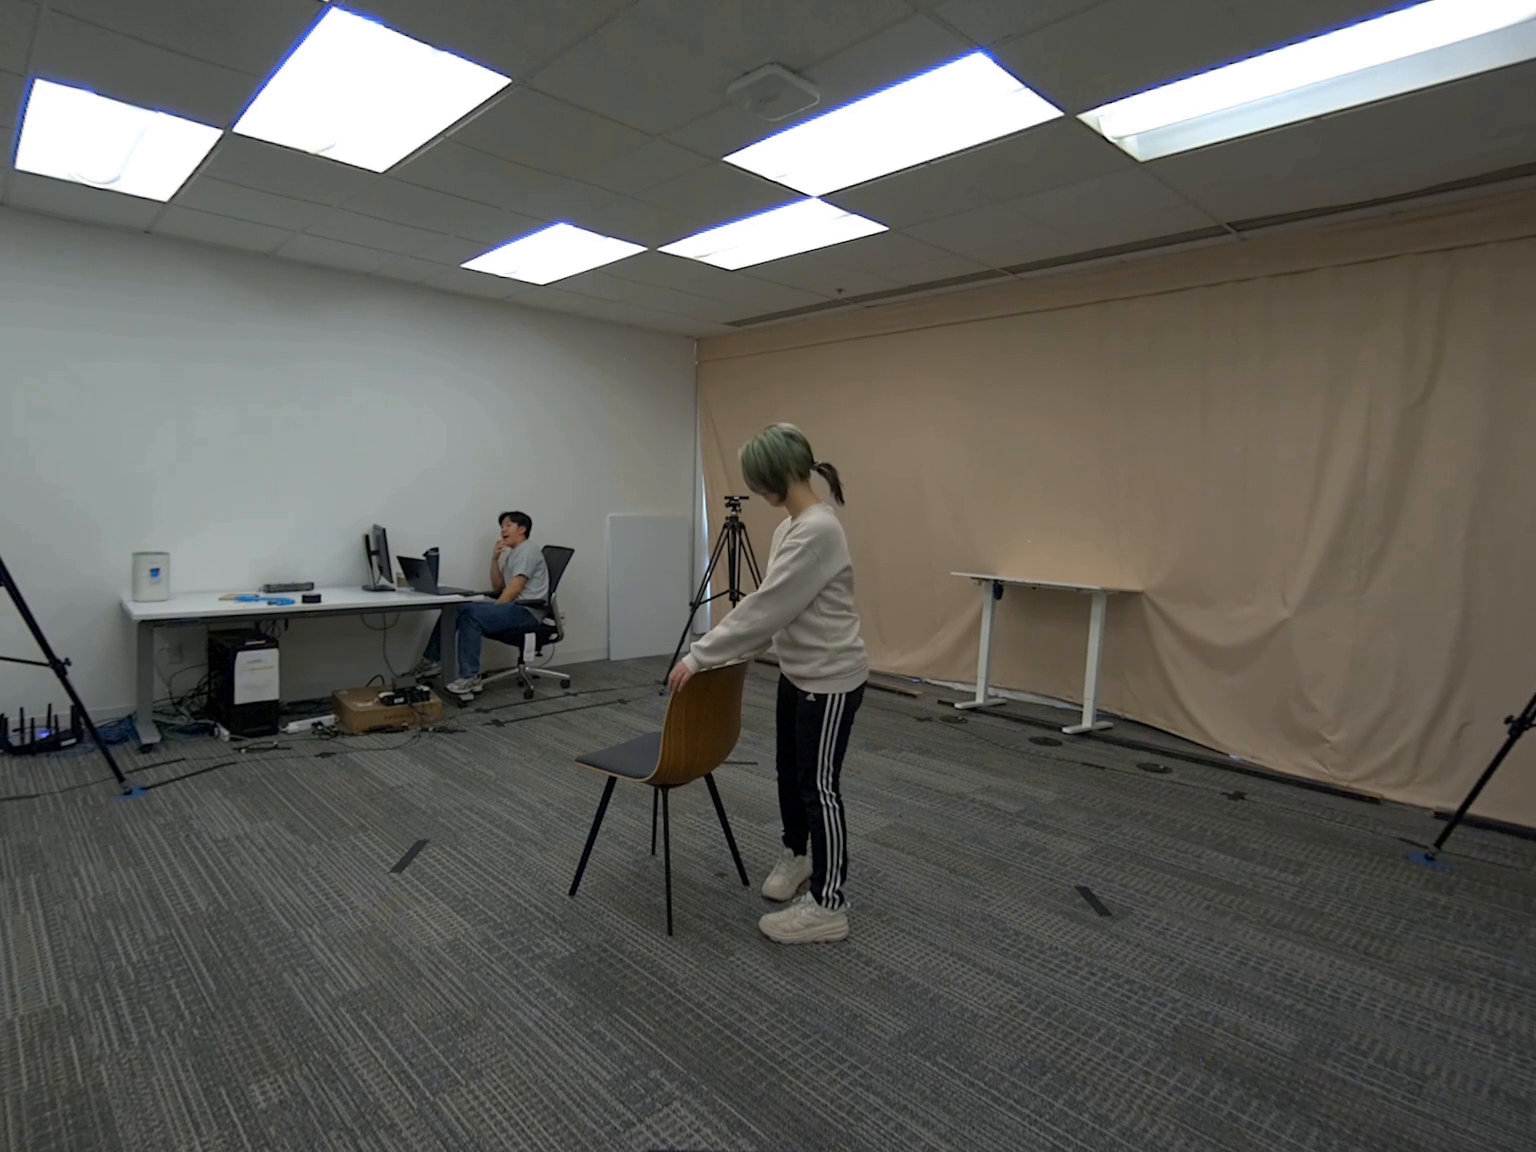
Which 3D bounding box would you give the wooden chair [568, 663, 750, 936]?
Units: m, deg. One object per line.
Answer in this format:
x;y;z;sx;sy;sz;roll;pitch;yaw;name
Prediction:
-0.381;0.682;2.944;0.536;0.874;0.468;9;7;34;wooden chair
